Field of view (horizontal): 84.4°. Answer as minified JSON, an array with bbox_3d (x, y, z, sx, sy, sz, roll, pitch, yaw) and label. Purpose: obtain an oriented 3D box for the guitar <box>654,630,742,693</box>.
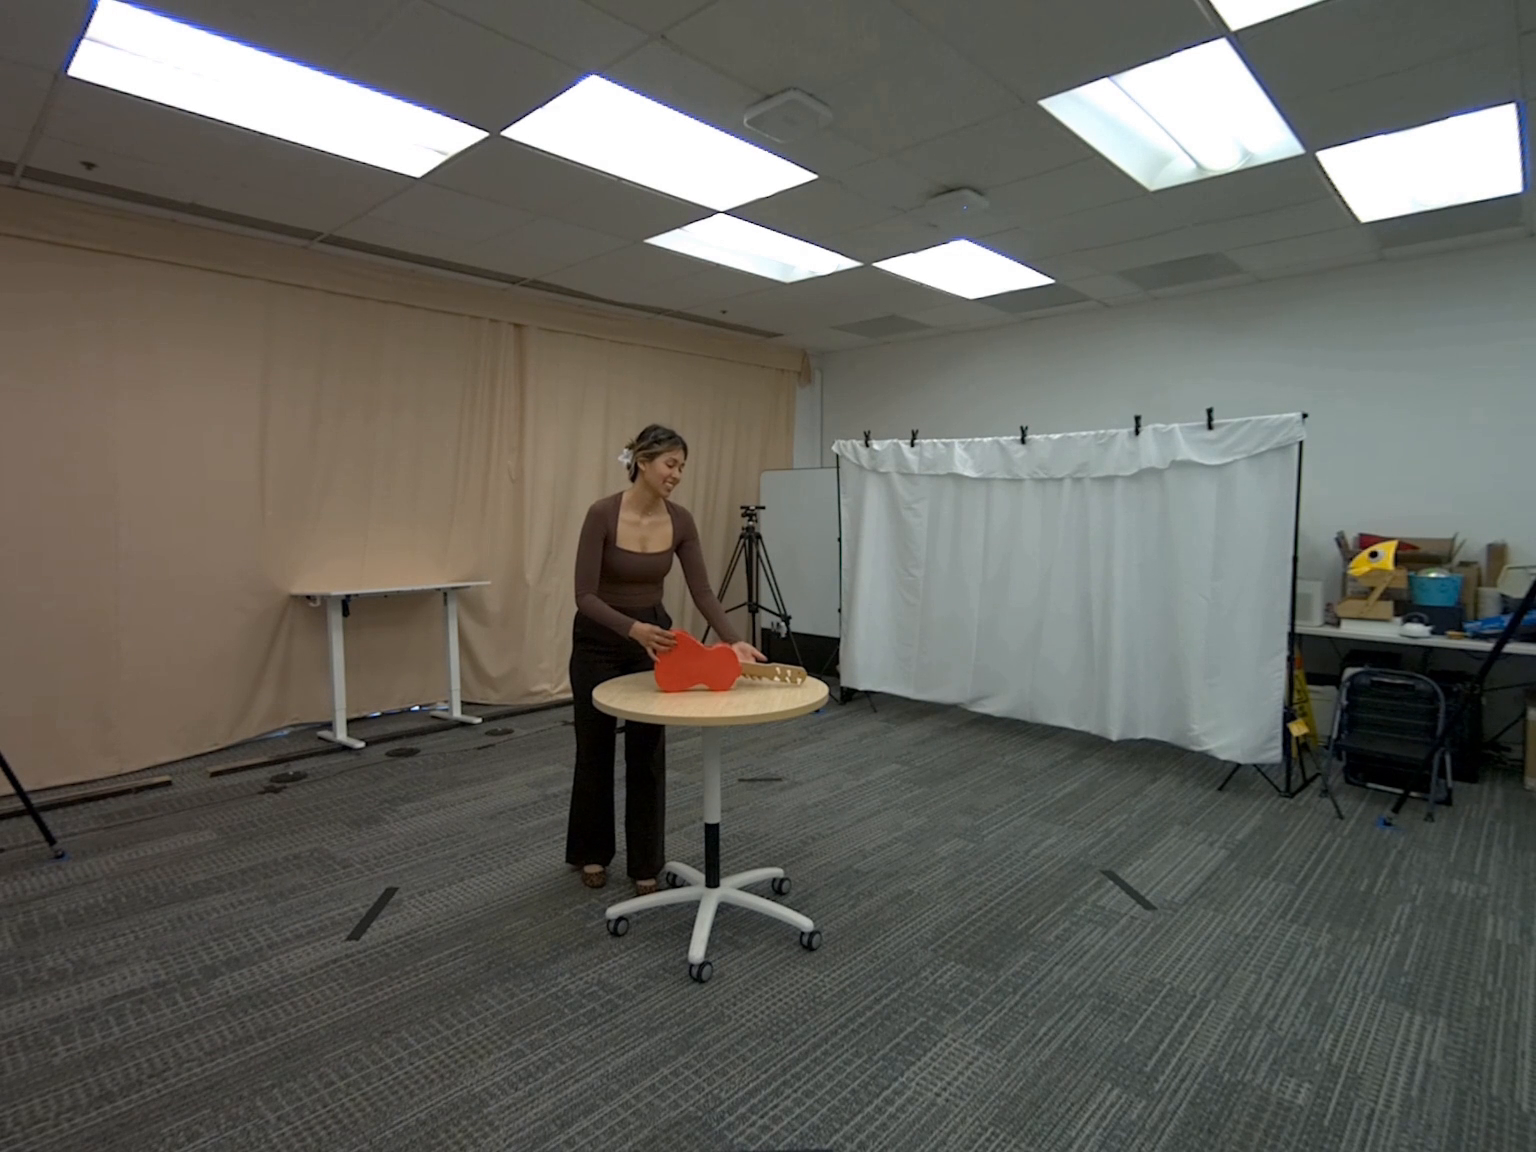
[{"bbox_3d":[-0.114,0.277,2.718,0.496,0.193,0.071,0,1,-3],"label":"guitar"}]
